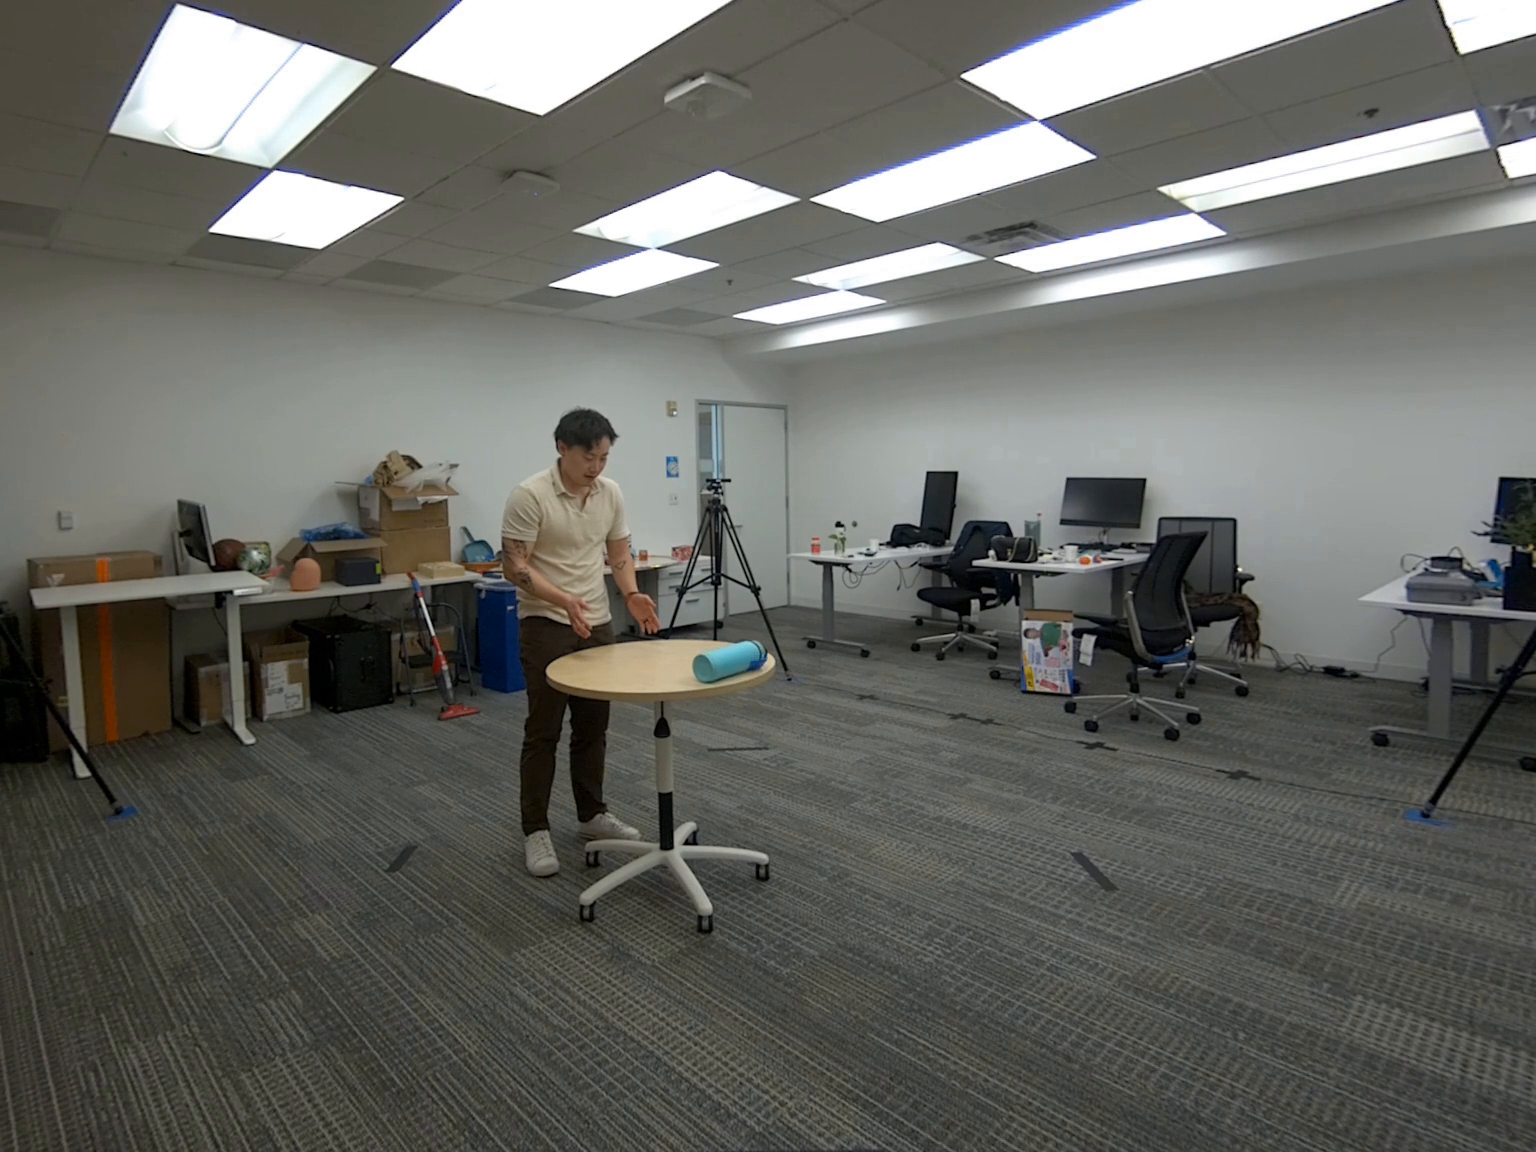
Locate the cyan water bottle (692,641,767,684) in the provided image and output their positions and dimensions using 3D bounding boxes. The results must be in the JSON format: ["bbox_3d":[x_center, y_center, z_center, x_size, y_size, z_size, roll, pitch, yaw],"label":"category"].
[{"bbox_3d":[-0.111,0.263,2.691,0.095,0.092,0.276,3,9,41],"label":"cyan water bottle"}]
